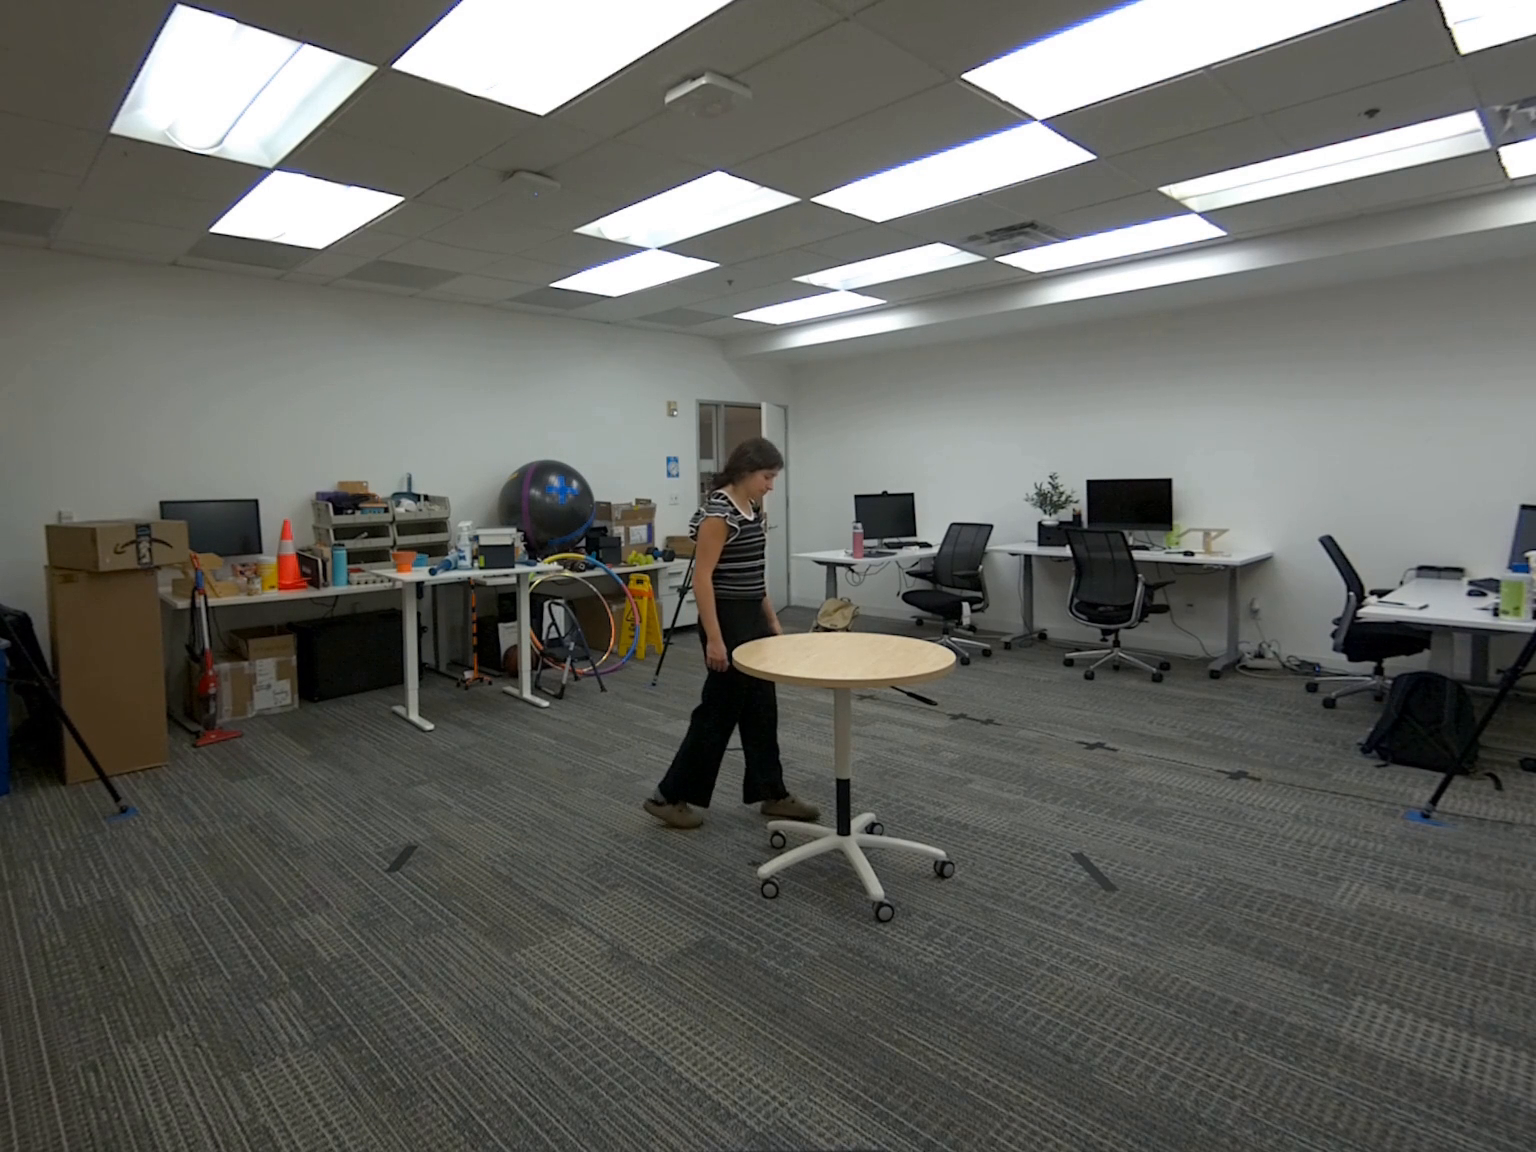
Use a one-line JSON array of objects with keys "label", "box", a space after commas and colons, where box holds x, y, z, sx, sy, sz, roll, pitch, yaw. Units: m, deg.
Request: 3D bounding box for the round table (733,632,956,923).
[{"label": "round table", "box": [0.263, 0.655, 3.011, 0.784, 0.783, 0.789, -1, 5, -2]}]
